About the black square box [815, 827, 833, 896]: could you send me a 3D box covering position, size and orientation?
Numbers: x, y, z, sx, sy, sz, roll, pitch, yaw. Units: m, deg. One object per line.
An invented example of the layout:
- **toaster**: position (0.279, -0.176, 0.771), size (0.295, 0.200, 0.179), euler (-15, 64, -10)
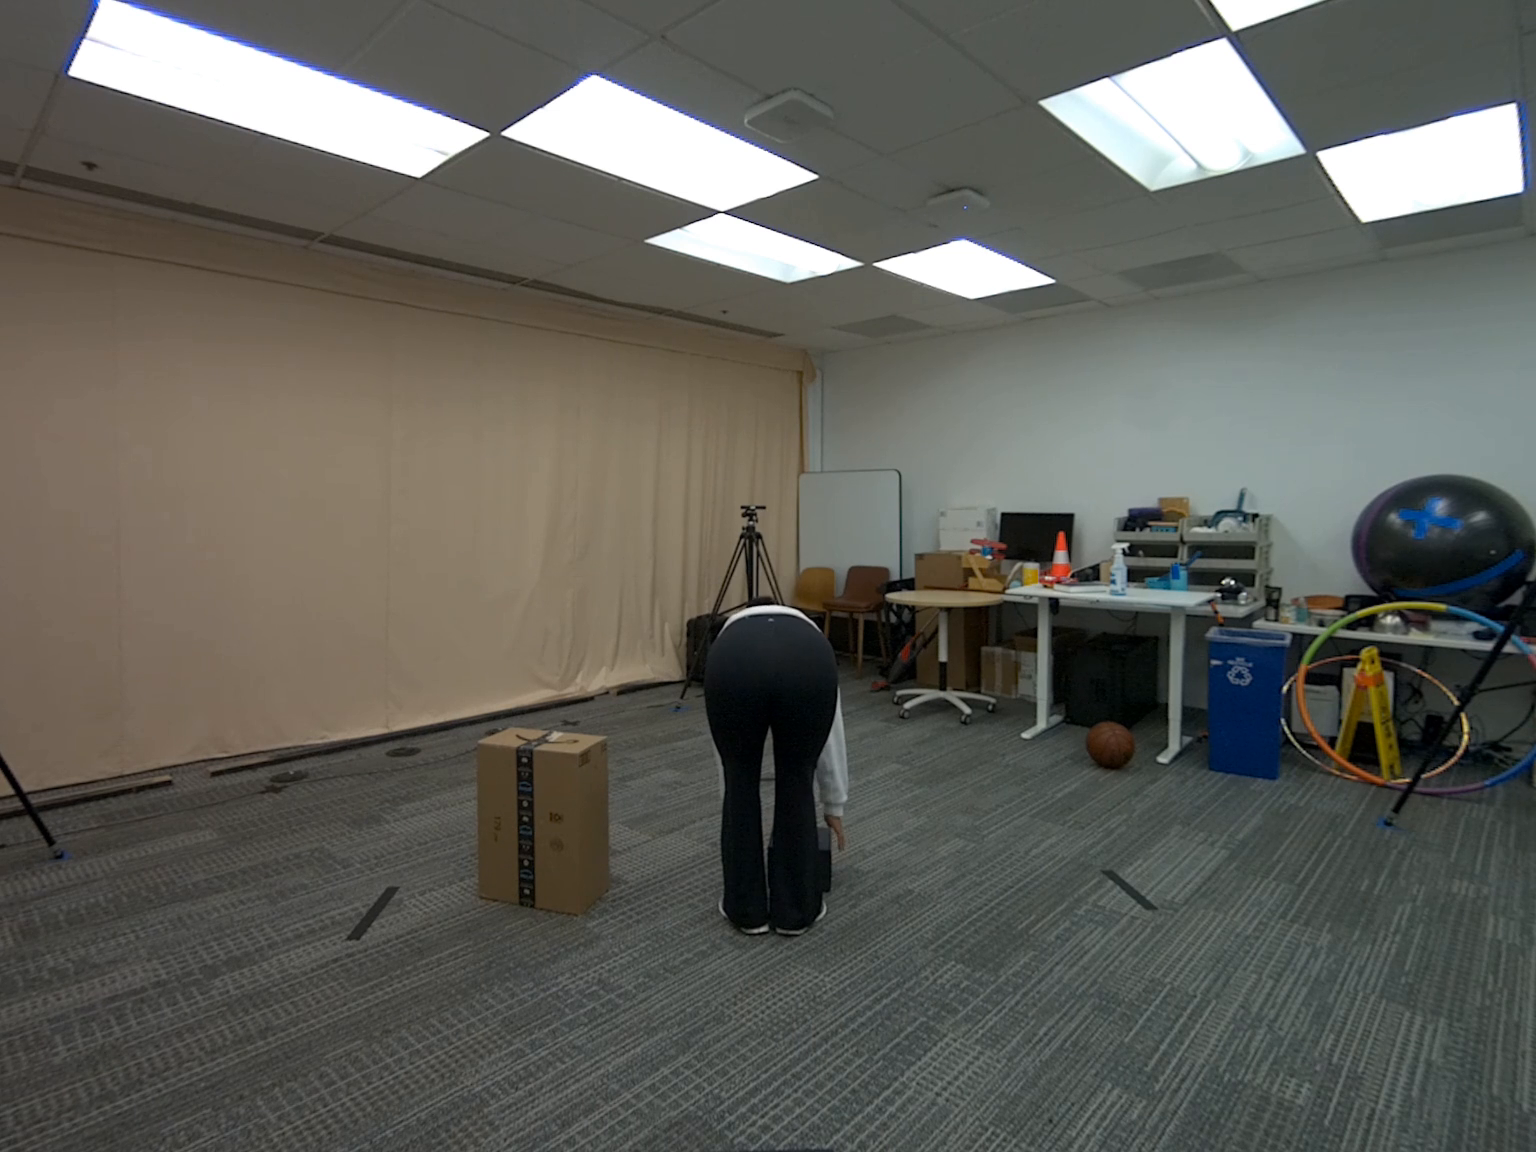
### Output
- **black square box**: position (0.130, 1.045, 3.132), size (0.230, 0.155, 0.216), euler (1, 5, 7)
